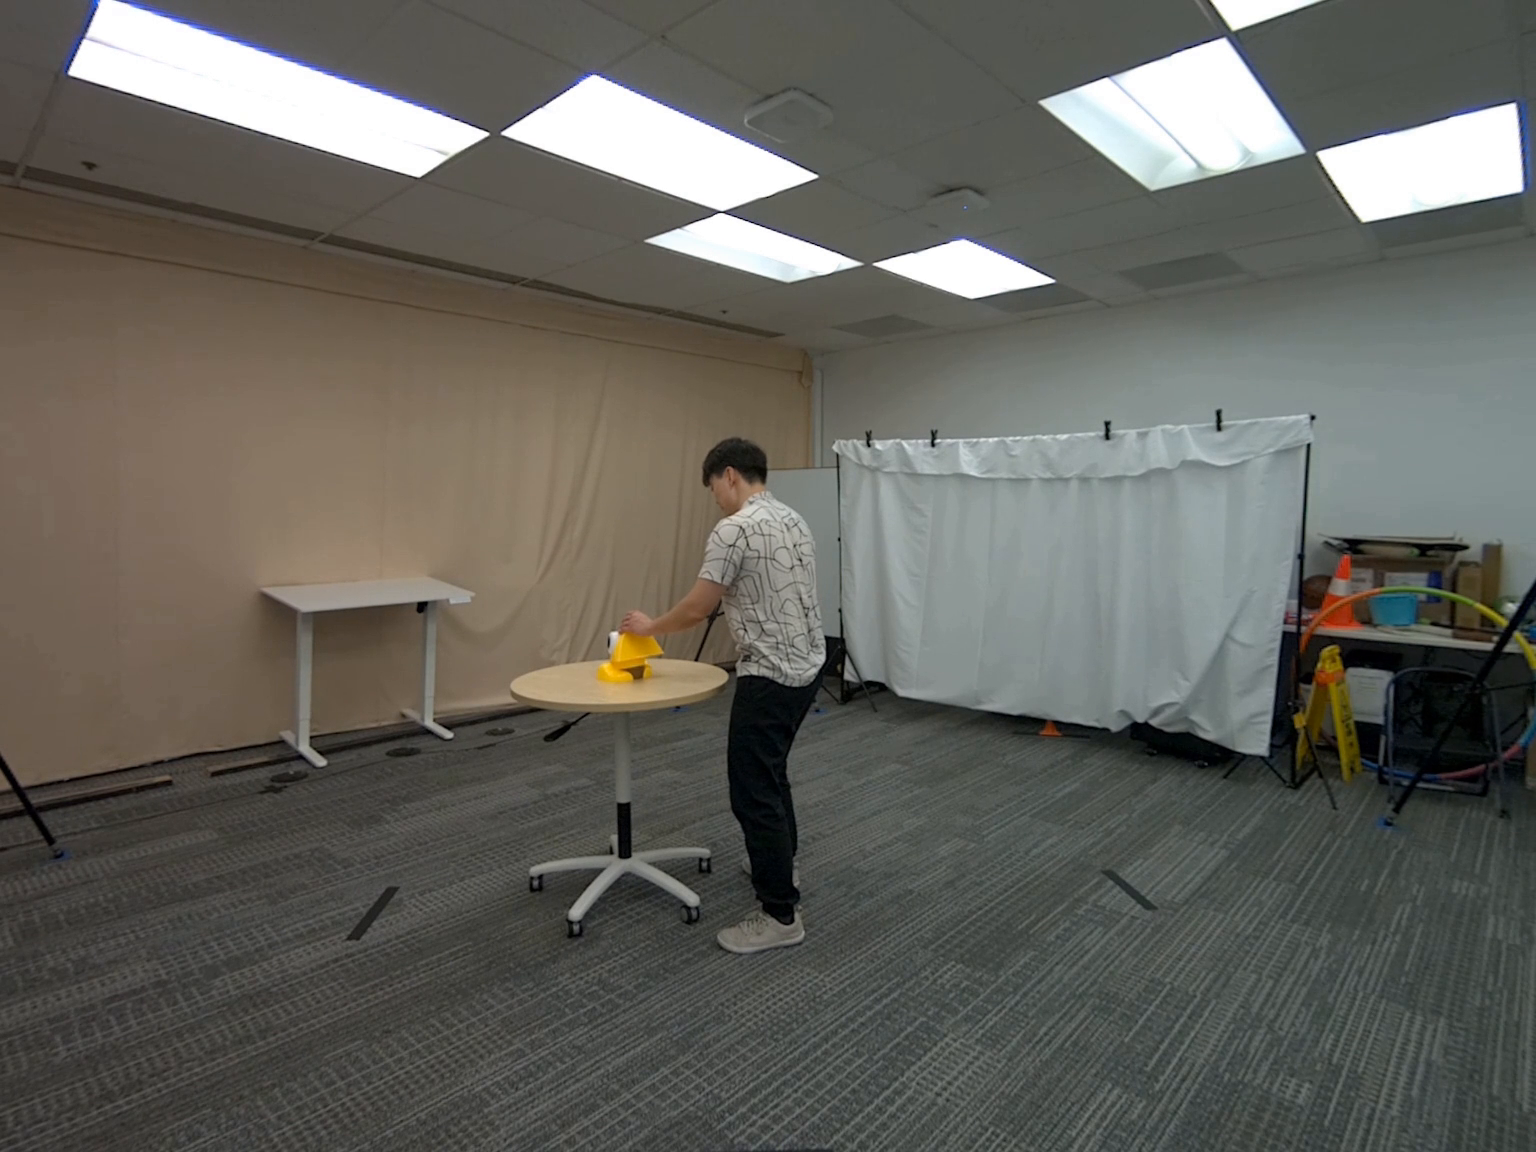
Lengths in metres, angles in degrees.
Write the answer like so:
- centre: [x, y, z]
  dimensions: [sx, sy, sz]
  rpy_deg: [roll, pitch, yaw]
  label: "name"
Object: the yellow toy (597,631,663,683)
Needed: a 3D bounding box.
- centre: [-0.510, 0.250, 3.018]
  dimensions: [0.199, 0.230, 0.198]
  rpy_deg: [3, 5, 44]
  label: "yellow toy"
